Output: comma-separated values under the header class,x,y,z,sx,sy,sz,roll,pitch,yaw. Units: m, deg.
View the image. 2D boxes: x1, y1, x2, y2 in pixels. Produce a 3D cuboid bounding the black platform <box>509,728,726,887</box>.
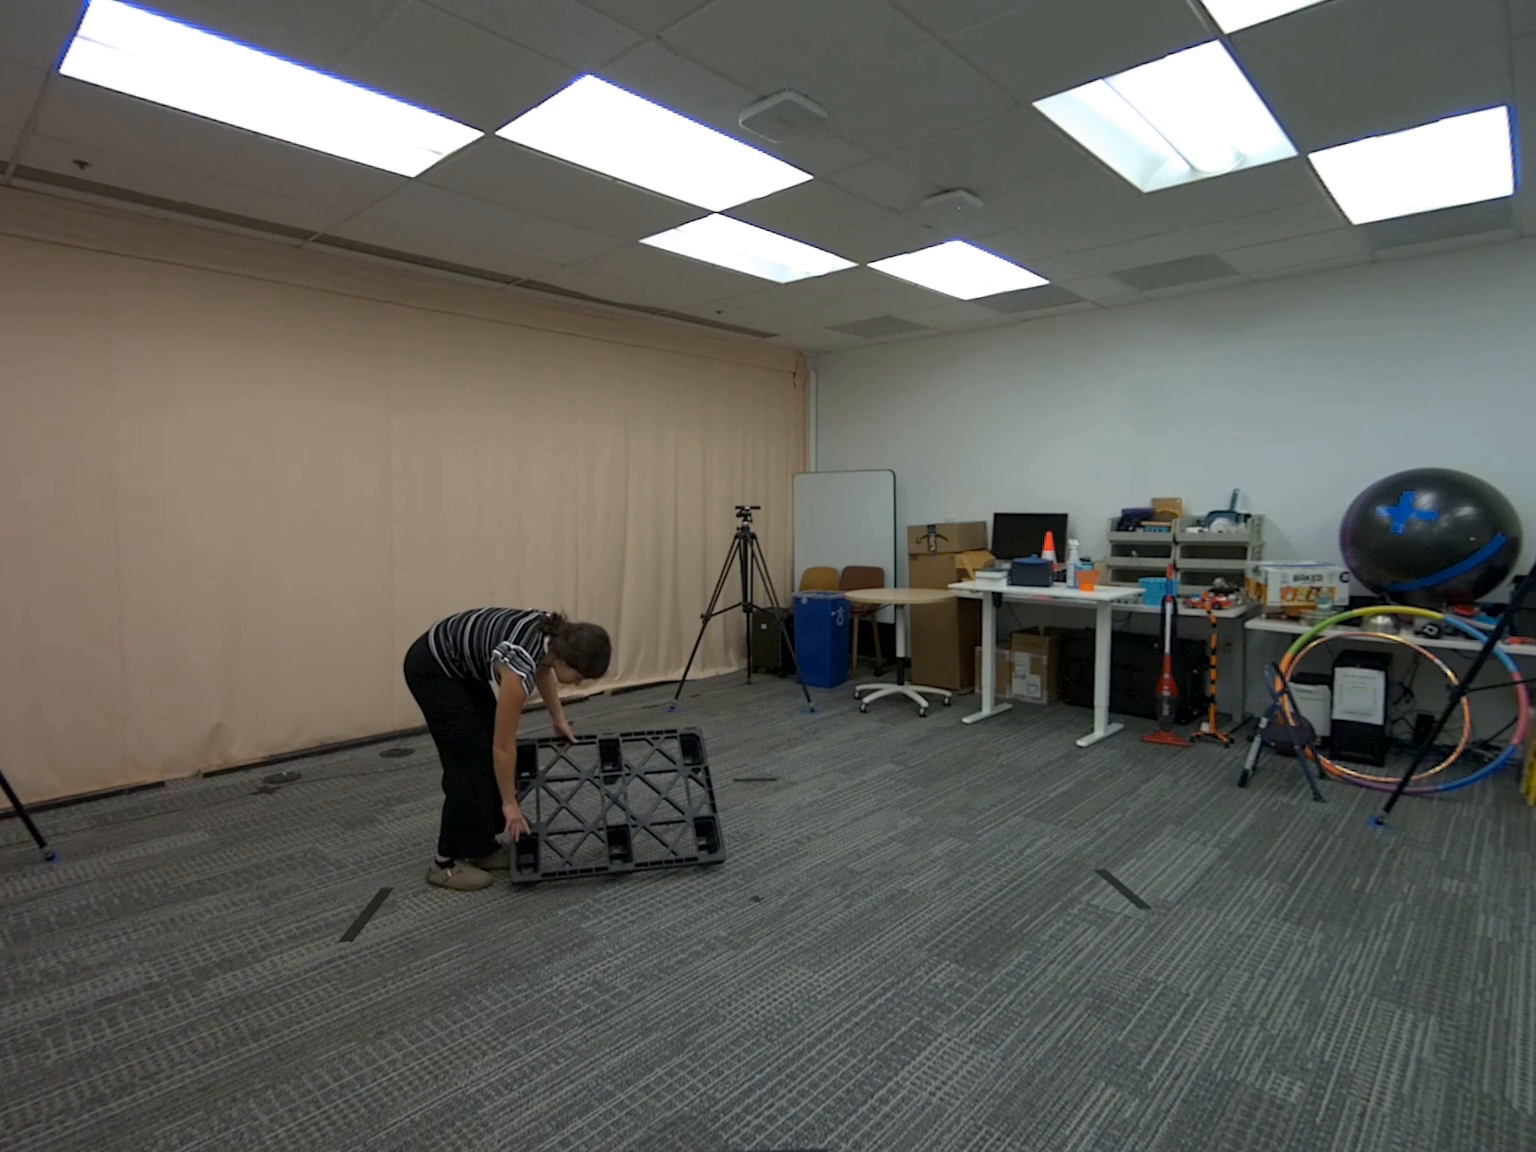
class,x,y,z,sx,sy,sz,roll,pitch,yaw
black platform,-0.618,0.914,3.352,0.795,0.141,0.621,-2,45,-13
